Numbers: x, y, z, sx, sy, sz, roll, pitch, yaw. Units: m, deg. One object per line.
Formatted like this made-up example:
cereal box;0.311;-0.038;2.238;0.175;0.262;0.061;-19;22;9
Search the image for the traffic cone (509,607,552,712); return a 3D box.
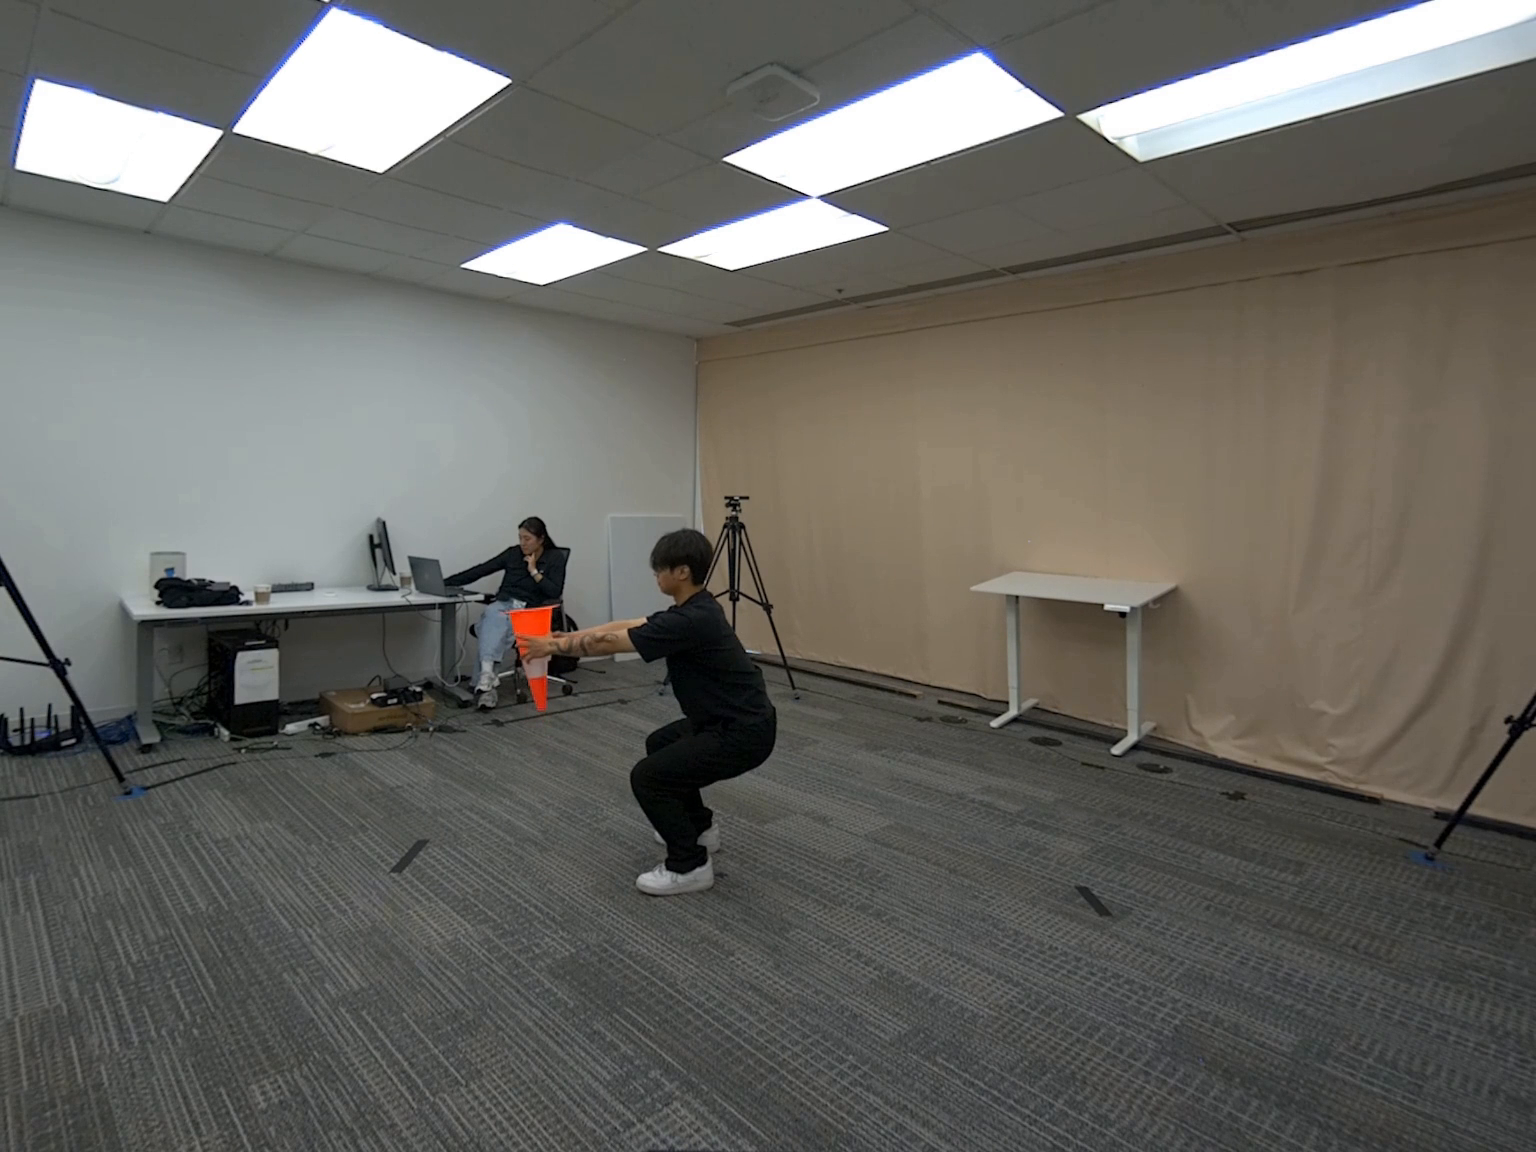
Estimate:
traffic cone;-0.885;0.316;3.187;0.202;0.384;0.207;-7;0;-12
